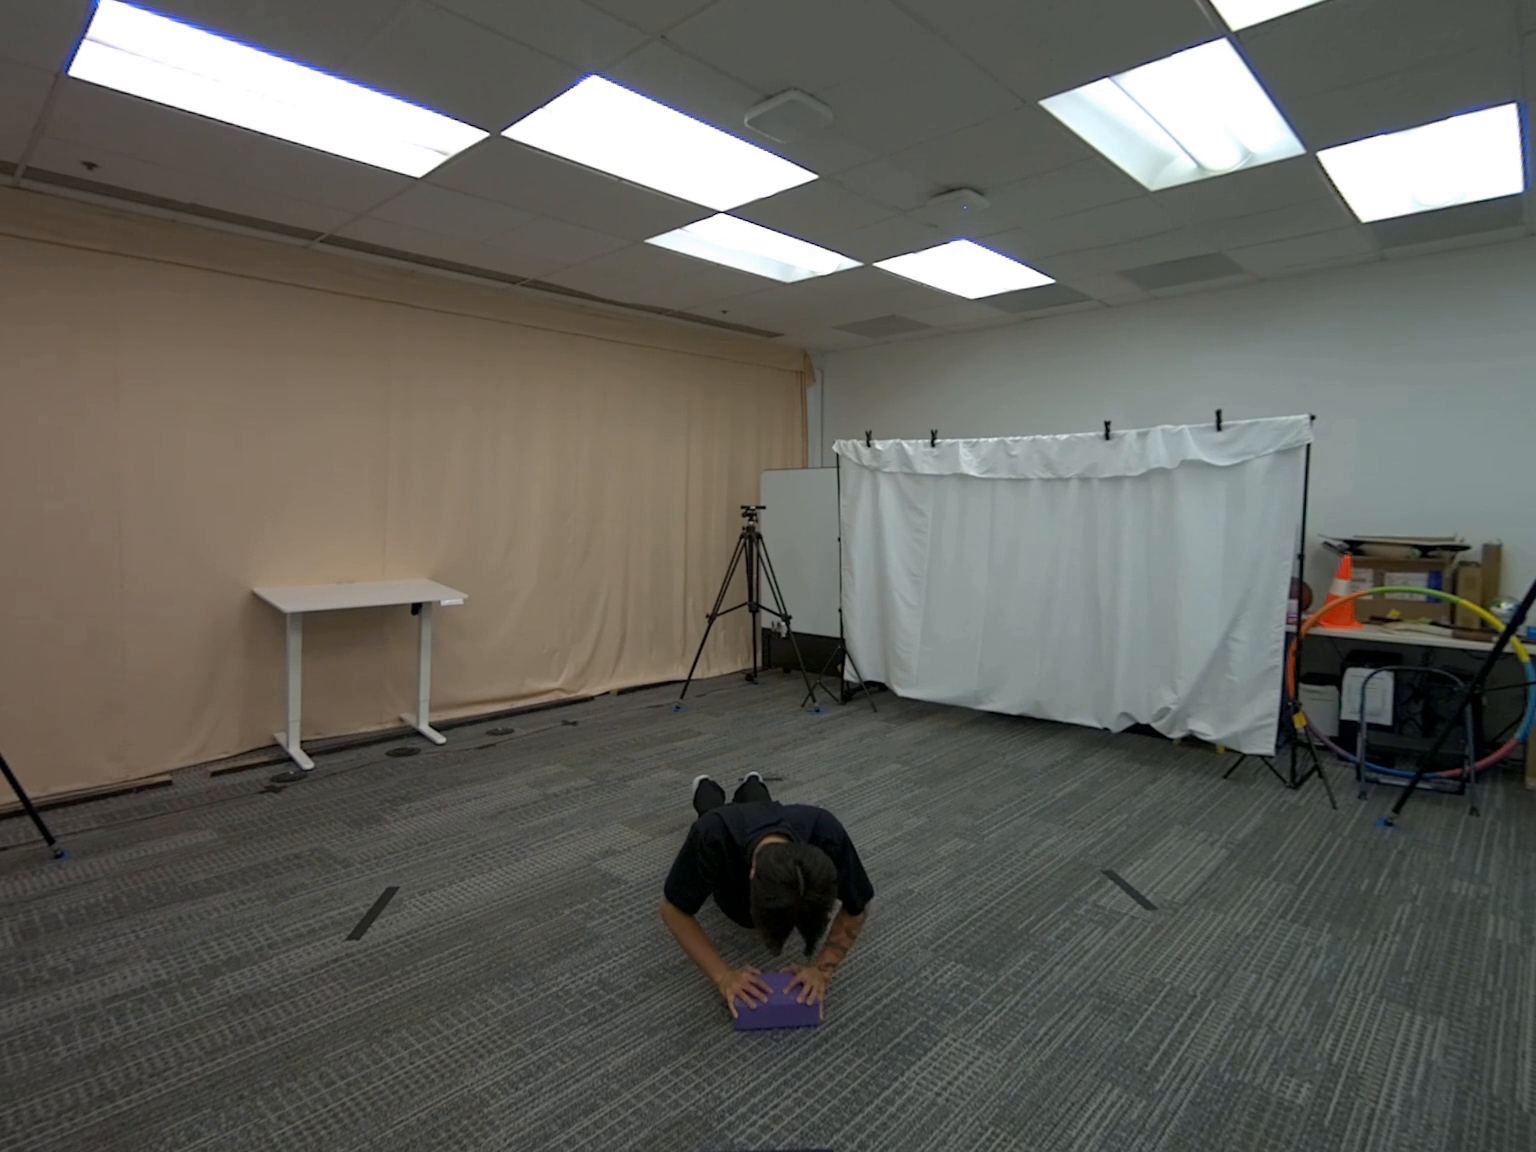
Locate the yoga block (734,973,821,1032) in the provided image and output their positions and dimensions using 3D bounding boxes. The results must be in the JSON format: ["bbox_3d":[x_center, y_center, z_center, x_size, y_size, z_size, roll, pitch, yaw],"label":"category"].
[{"bbox_3d":[0.012,1.164,2.308,0.228,0.076,0.150,-2,5,-7],"label":"yoga block"}]
